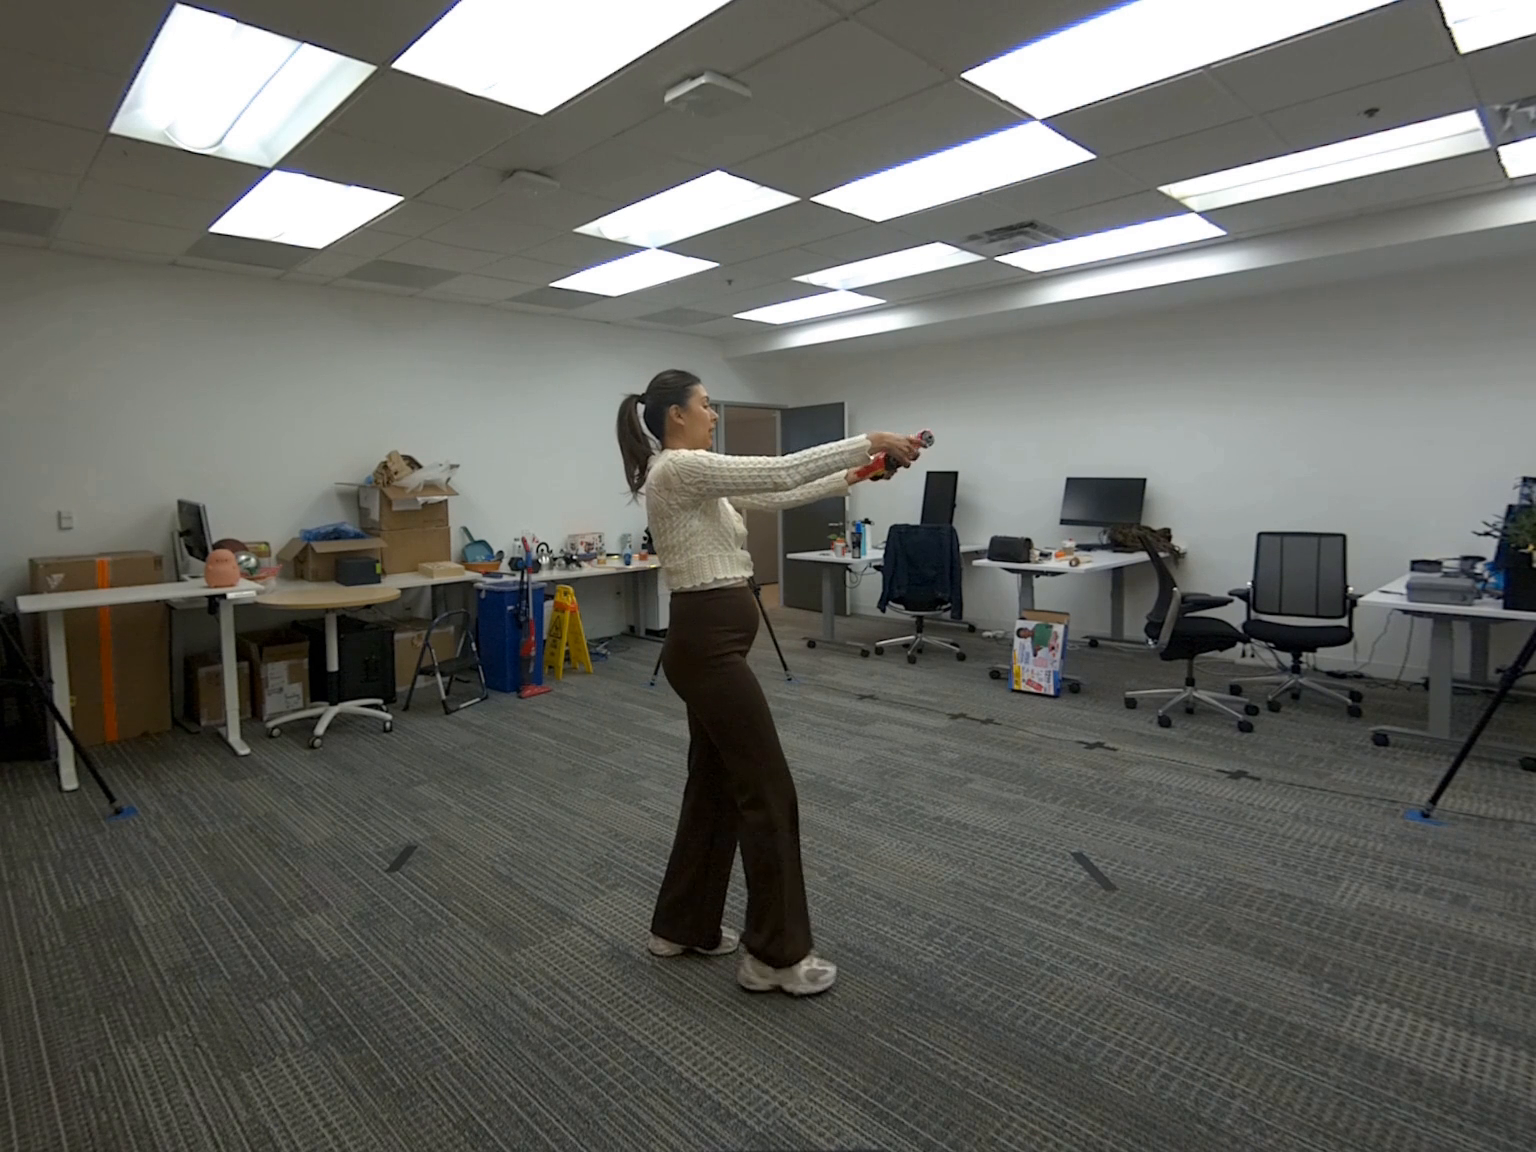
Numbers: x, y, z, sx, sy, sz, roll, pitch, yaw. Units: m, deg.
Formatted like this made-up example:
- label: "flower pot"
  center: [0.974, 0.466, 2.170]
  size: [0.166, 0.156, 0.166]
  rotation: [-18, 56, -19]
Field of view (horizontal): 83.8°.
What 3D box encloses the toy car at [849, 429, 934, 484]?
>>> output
- label: "toy car"
  center: [0.366, -0.346, 2.423]
  size: [0.251, 0.084, 0.131]
  rotation: [-18, -7, -25]
